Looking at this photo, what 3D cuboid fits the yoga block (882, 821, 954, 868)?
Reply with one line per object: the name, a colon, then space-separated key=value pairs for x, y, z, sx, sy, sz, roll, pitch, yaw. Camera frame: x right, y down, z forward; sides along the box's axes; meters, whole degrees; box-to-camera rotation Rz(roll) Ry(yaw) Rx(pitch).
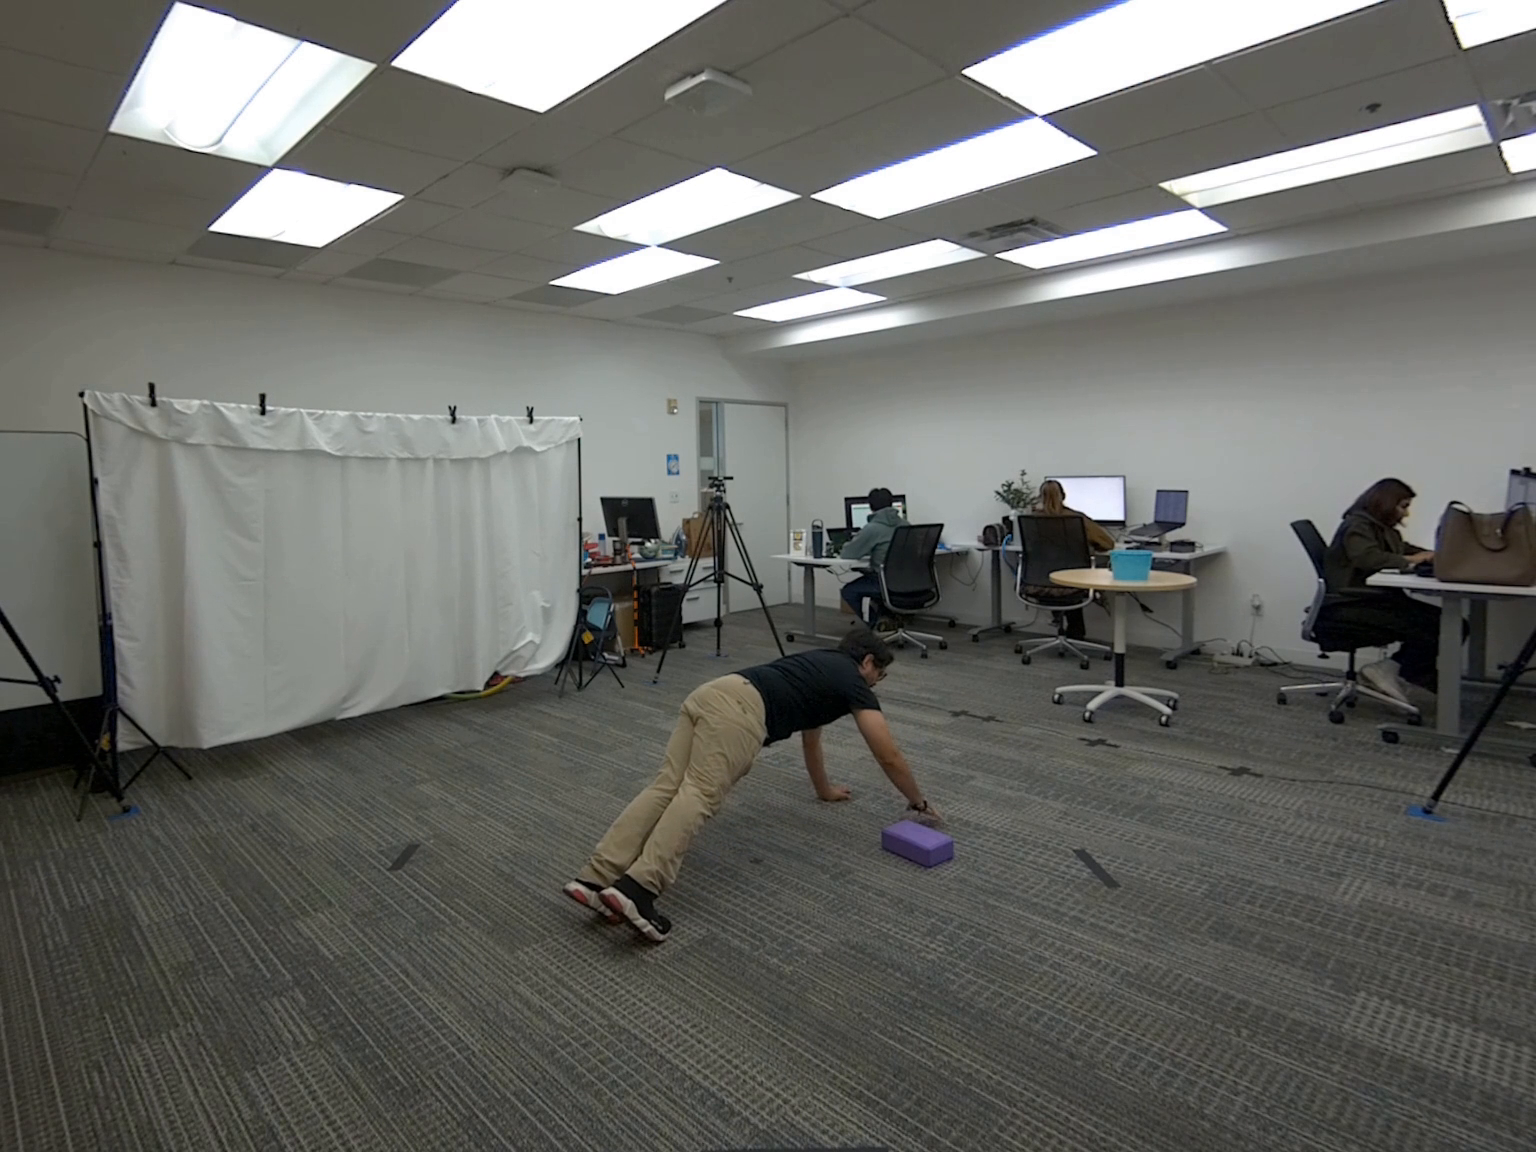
yoga block: x=0.549 y=0.973 z=3.138 sx=0.145 sy=0.076 sz=0.236 roll=-7 pitch=8 yaw=-39
